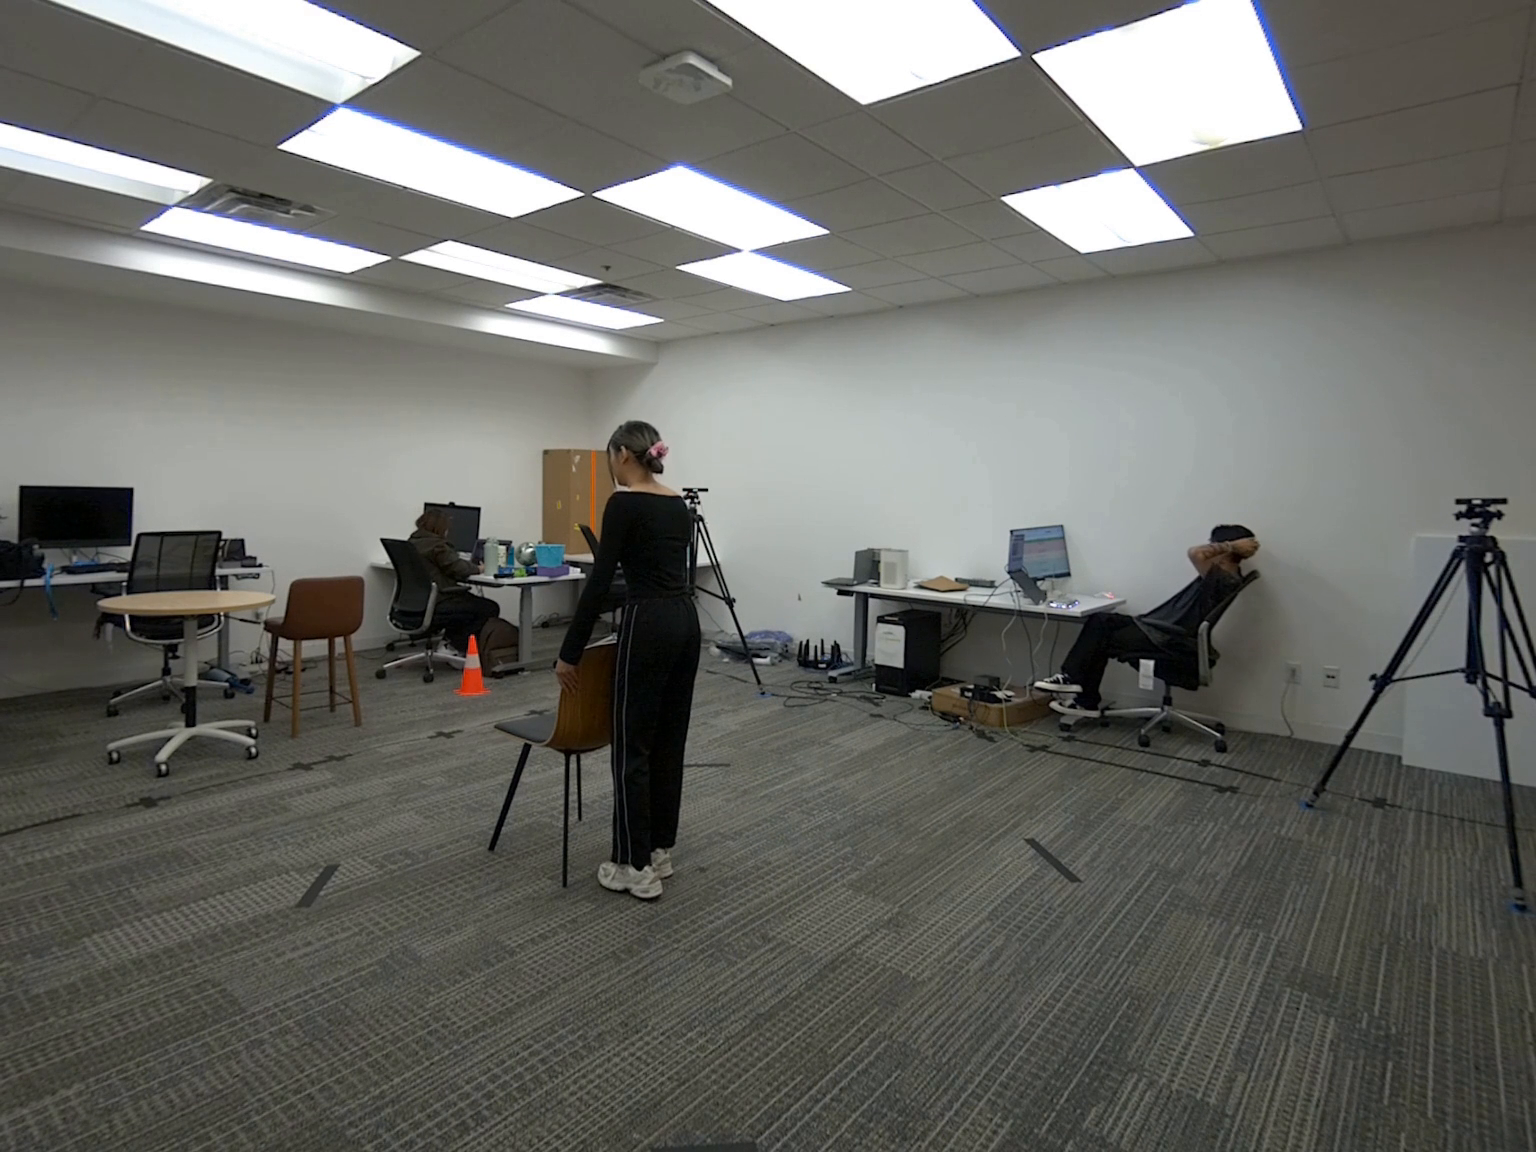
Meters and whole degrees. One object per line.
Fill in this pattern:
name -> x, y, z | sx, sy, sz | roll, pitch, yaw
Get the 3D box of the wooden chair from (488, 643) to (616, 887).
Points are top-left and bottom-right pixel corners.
wooden chair -> -0.759, 0.620, 3.233 | 0.542, 0.873, 0.464 | 10, 8, 39
